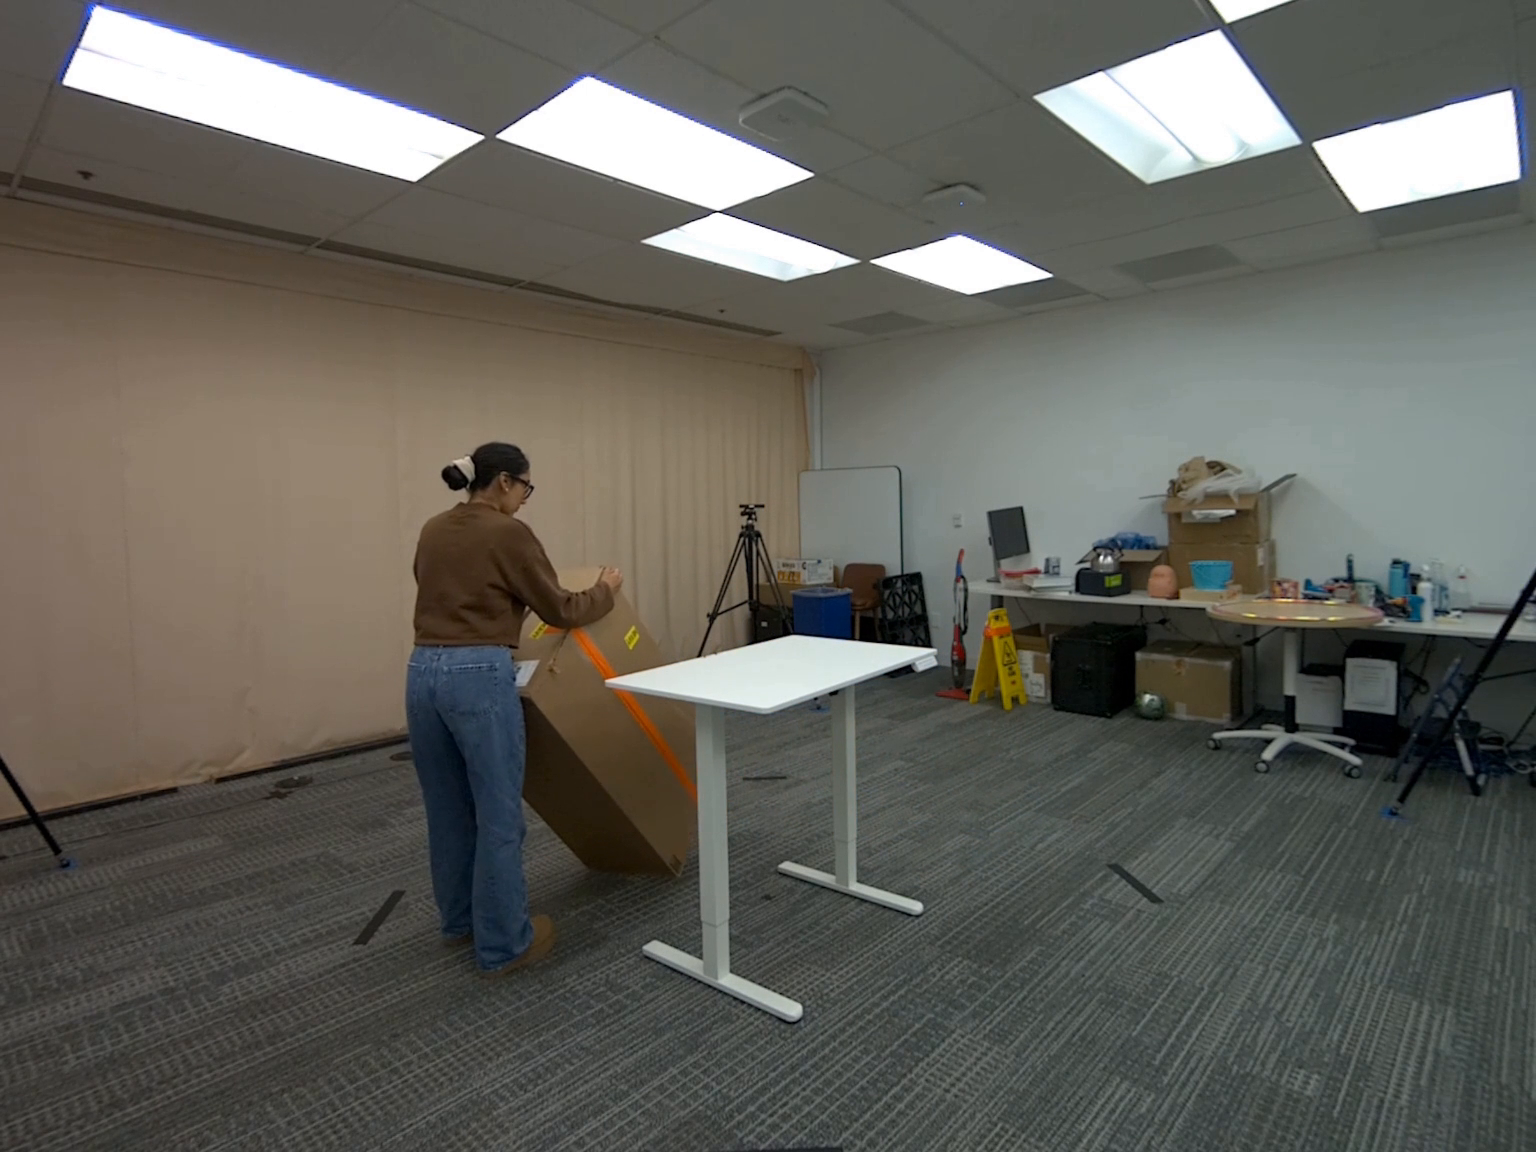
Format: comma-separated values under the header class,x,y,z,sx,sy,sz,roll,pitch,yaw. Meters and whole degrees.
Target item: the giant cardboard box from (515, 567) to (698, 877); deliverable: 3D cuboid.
class,x,y,z,sx,sy,sz,roll,pitch,yaw
giant cardboard box,-0.627,0.553,3.064,0.437,0.996,0.580,-8,40,27
